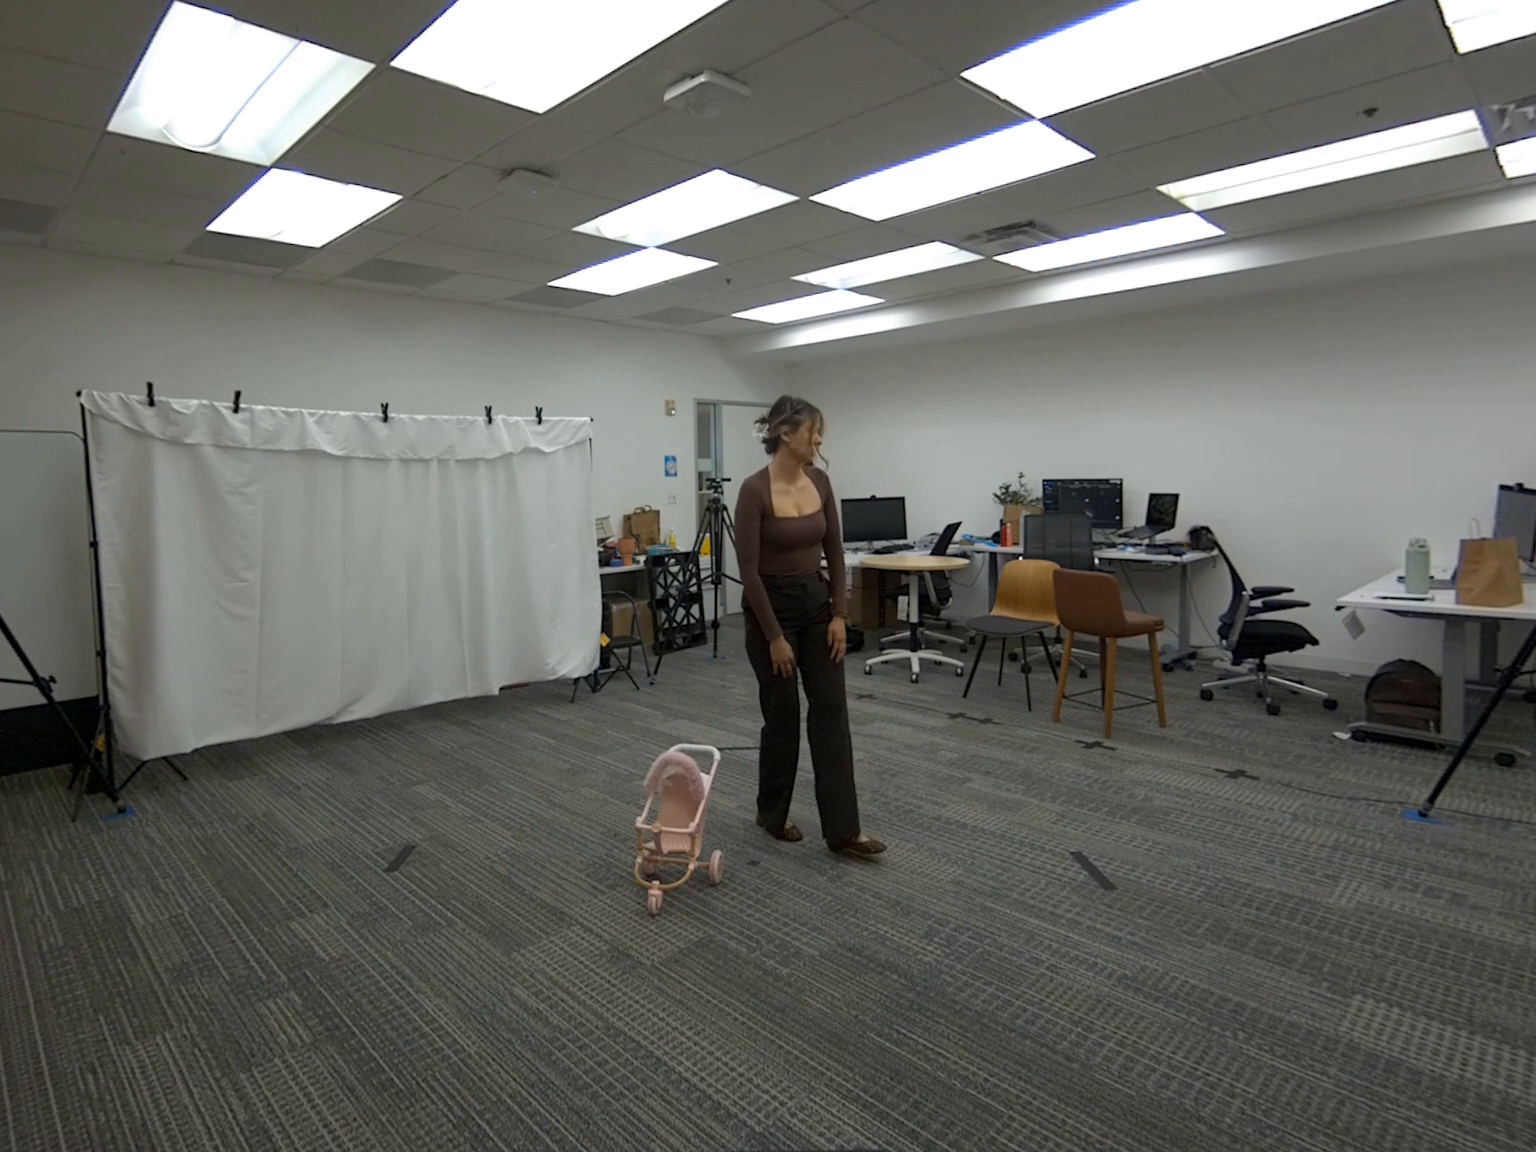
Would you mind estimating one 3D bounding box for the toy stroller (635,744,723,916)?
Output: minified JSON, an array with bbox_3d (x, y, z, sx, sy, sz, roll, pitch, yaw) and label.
[{"bbox_3d":[-0.318,0.846,2.925,0.287,0.540,0.331,0,-13,20],"label":"toy stroller"}]
